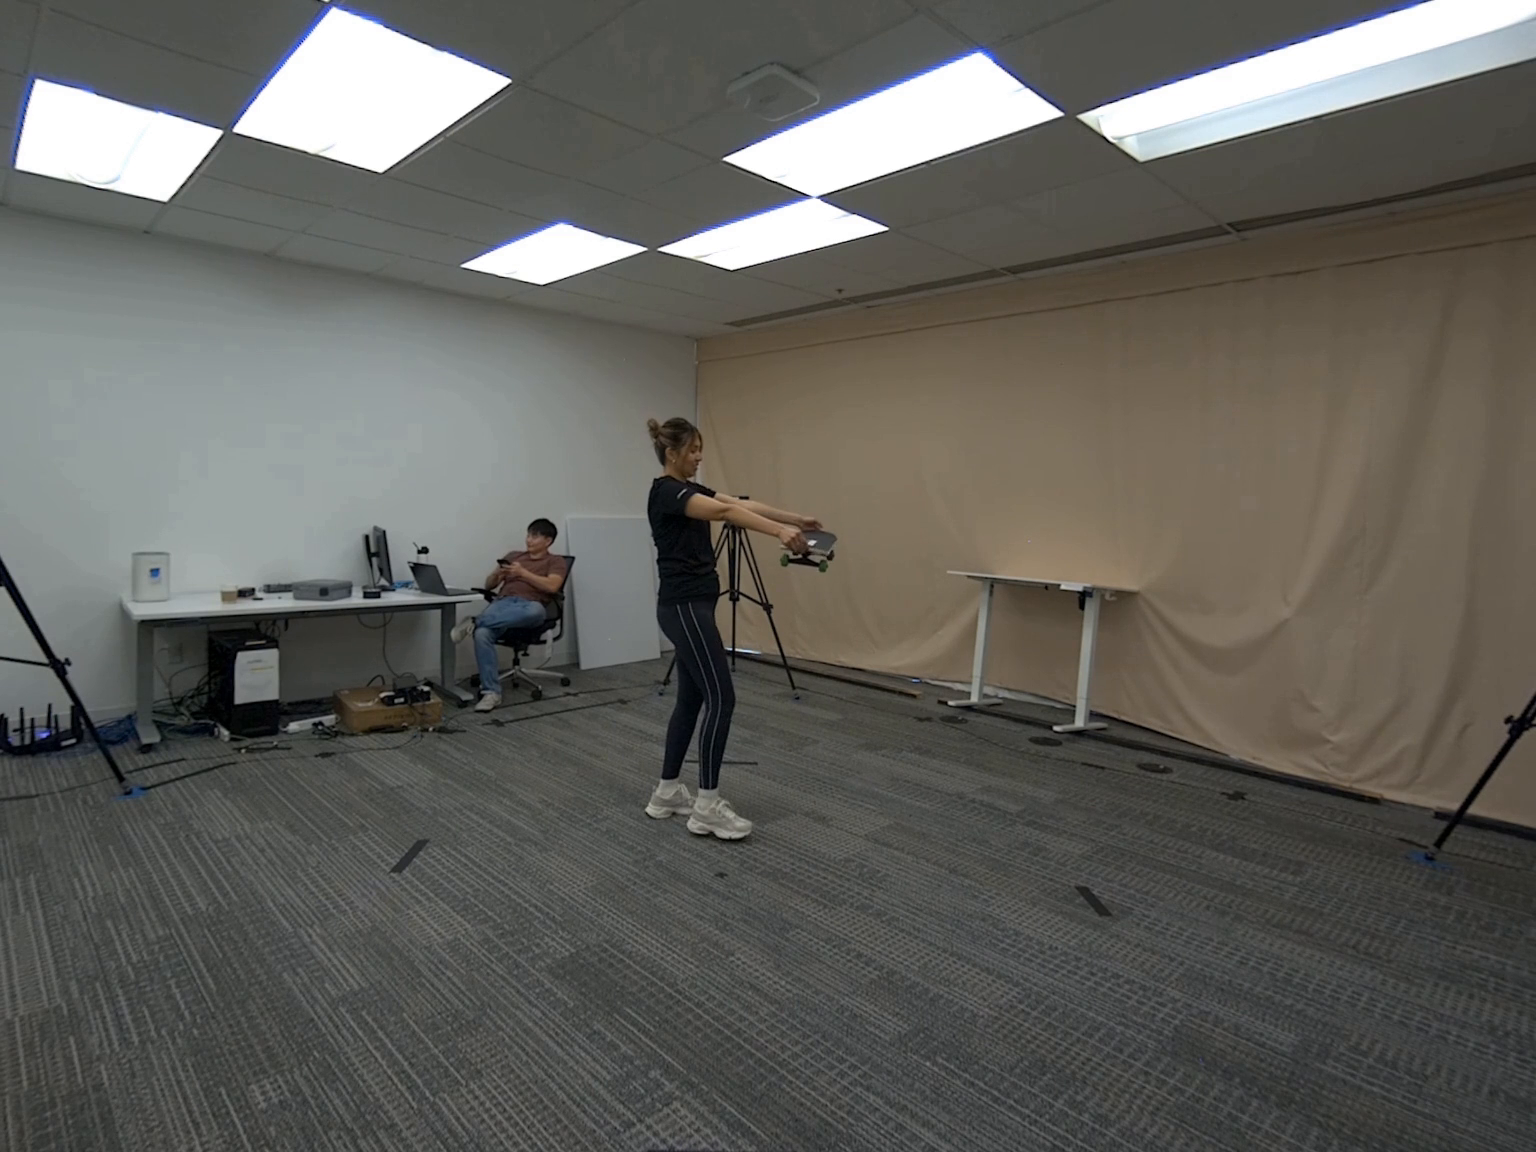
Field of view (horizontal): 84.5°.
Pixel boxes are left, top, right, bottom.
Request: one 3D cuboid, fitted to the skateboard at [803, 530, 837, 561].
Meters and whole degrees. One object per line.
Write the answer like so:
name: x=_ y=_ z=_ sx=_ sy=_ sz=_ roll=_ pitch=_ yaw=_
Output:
skateboard: x=0.170 y=-0.110 z=3.546 sx=0.195 sy=0.110 sz=0.784 roll=8 pitch=9 yaw=6
